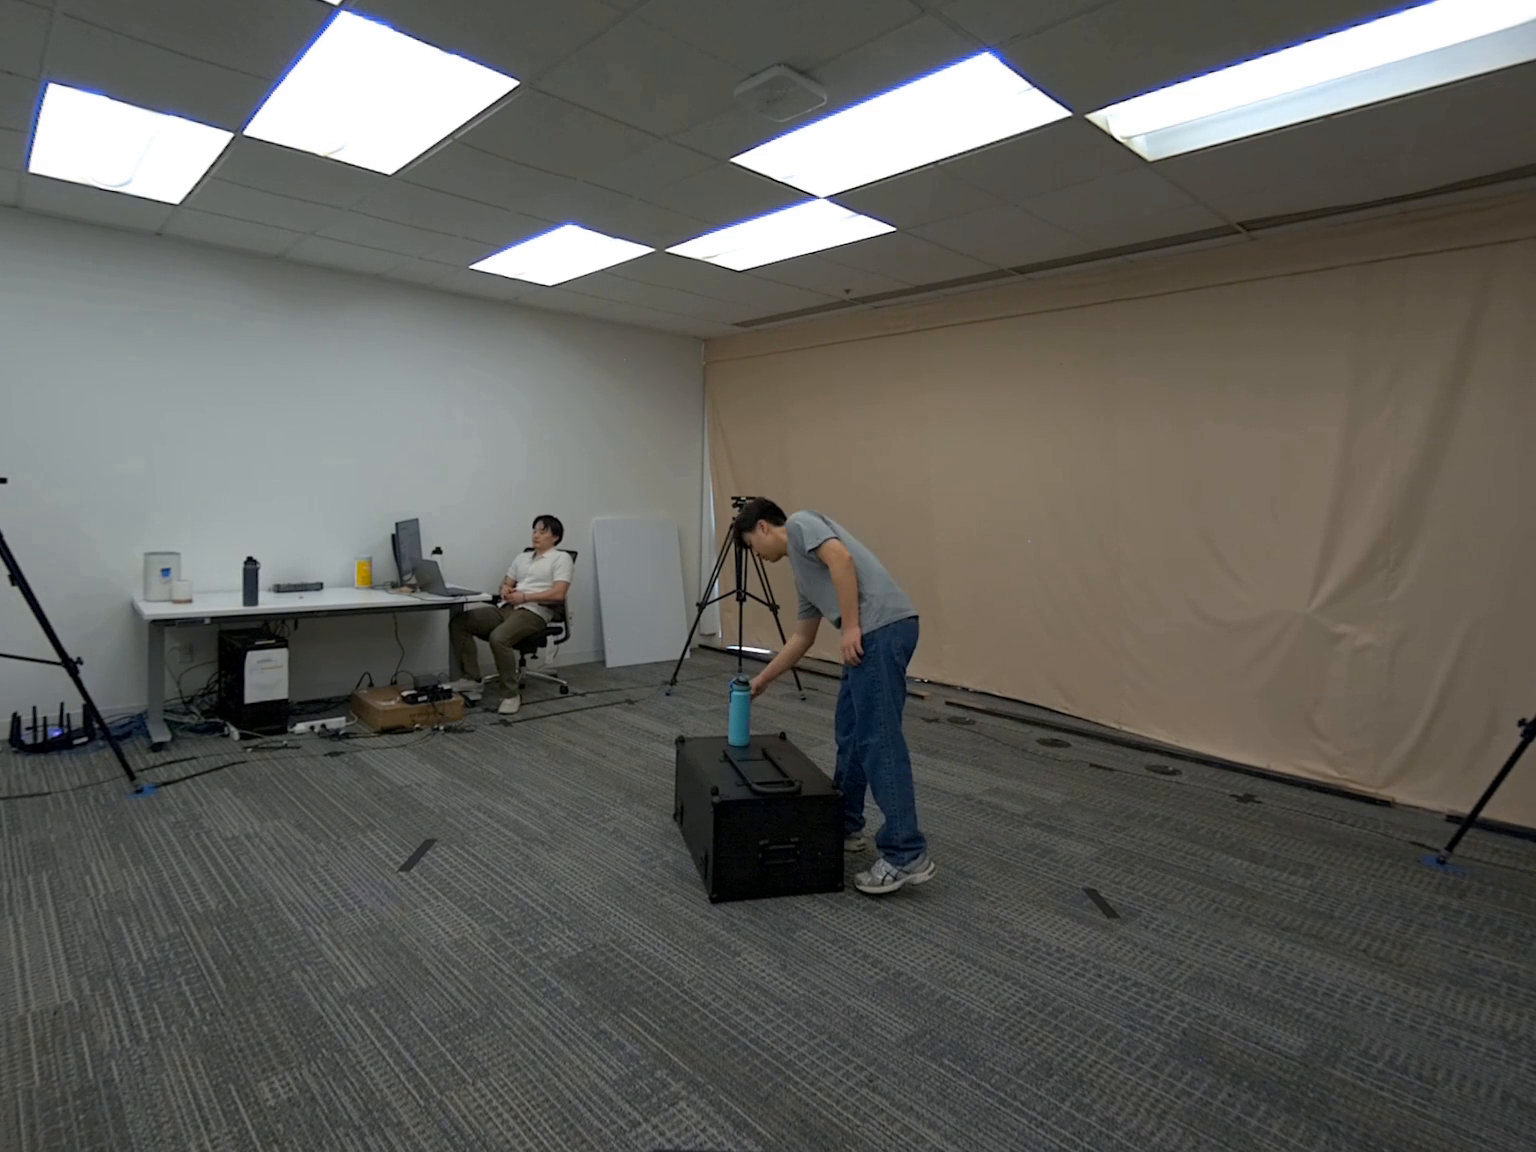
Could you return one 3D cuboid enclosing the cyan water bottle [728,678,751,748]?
[{"bbox_3d":[-0.124,0.565,3.551,0.092,0.282,0.093,0,5,-1],"label":"cyan water bottle"}]
